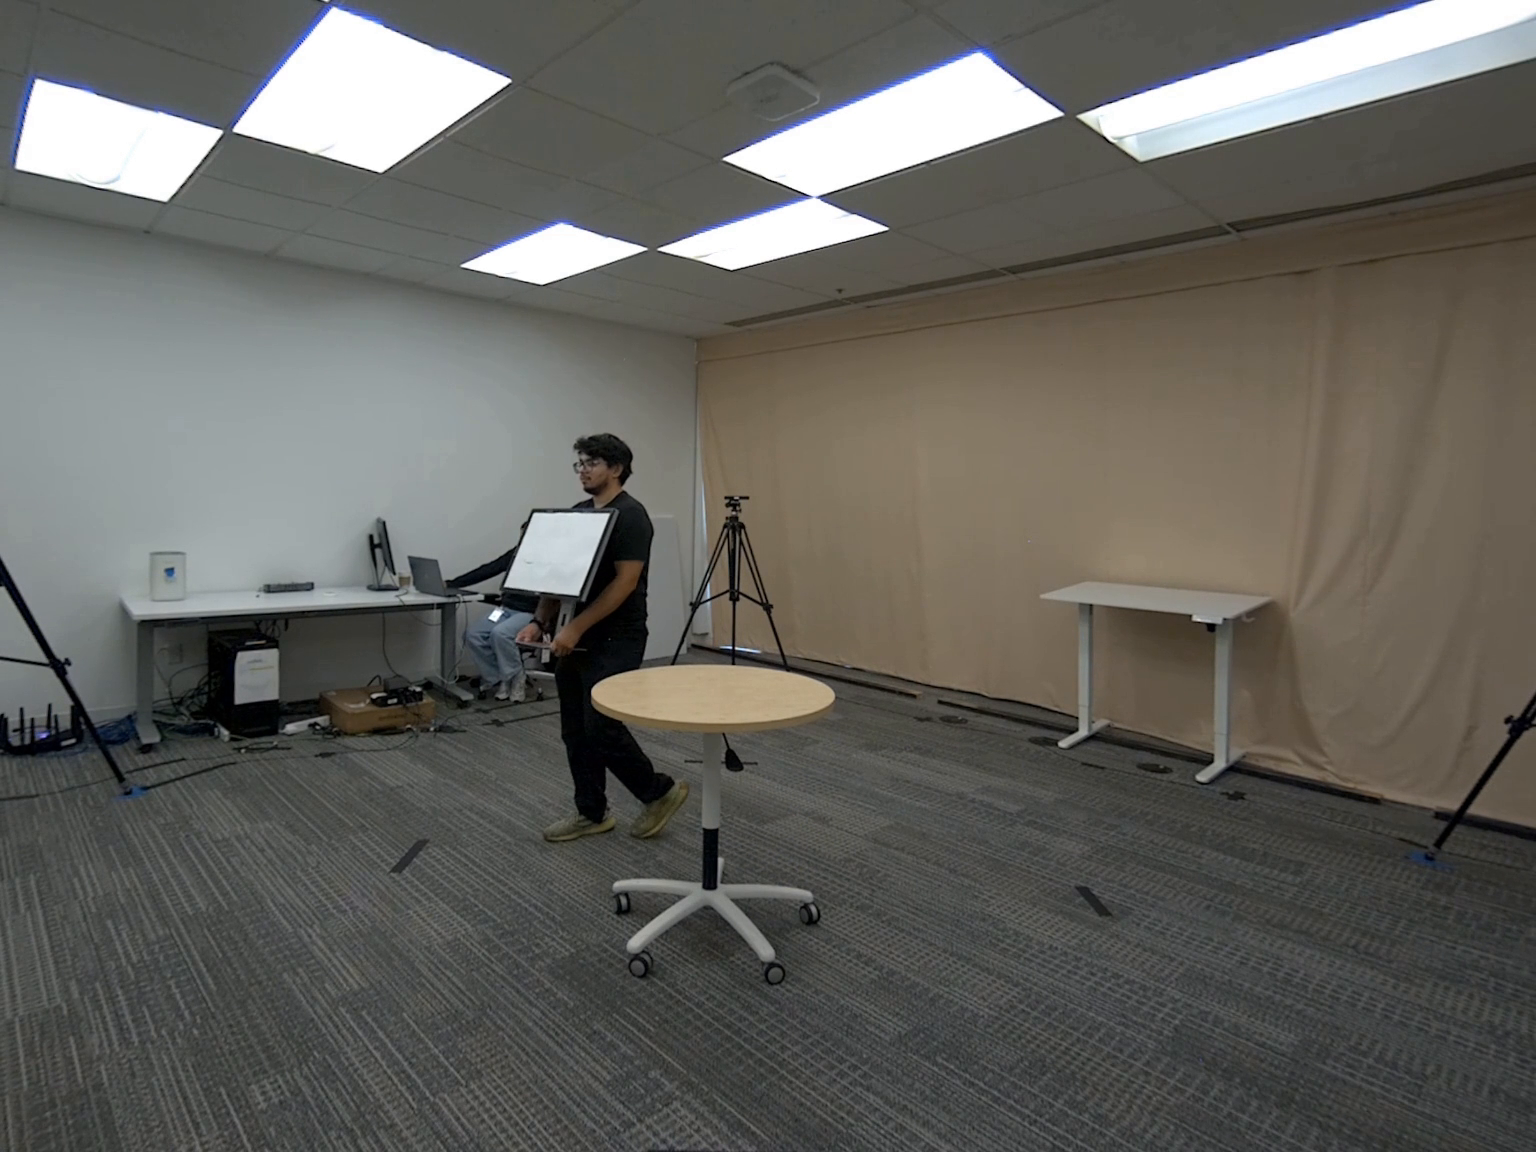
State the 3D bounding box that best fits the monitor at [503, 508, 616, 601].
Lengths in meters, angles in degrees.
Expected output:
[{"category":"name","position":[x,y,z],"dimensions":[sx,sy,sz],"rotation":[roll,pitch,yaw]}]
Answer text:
[{"category":"monitor","position":[-0.783,0.015,3.249],"dimensions":[0.579,0.557,0.204],"rotation":[3,-15,44]}]
